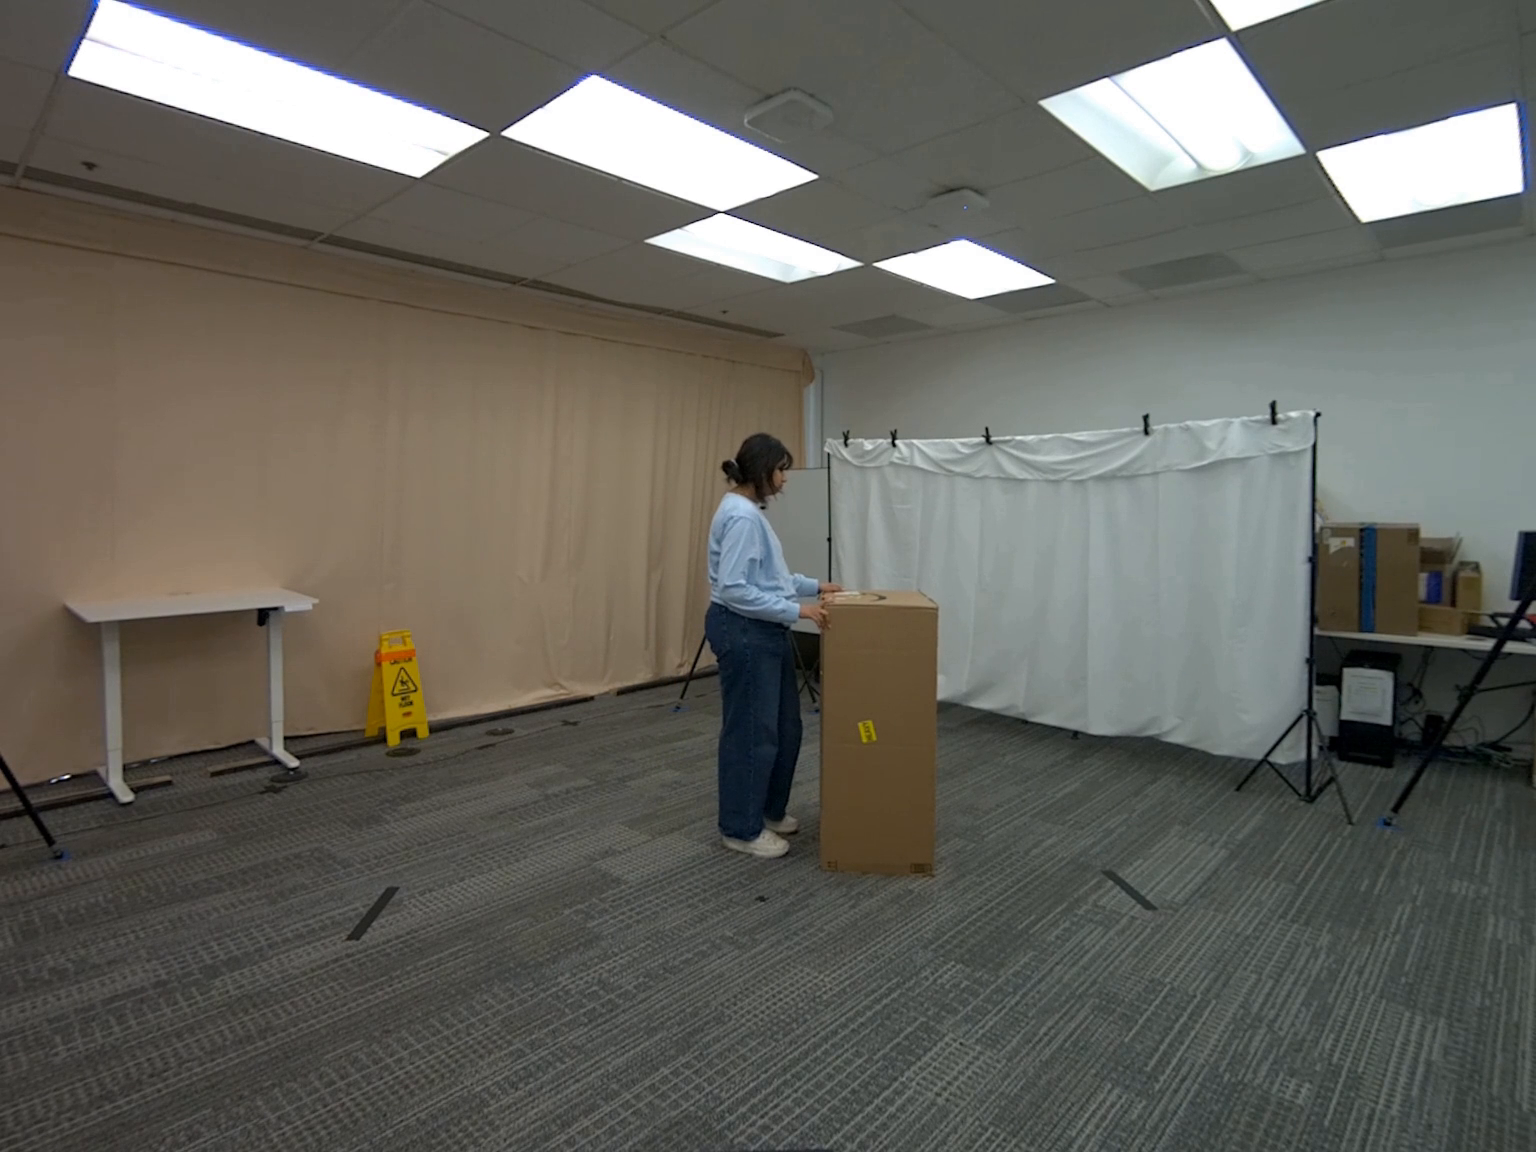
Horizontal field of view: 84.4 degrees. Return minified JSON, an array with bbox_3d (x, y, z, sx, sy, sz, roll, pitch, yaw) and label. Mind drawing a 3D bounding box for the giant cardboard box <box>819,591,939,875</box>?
[{"bbox_3d":[0.441,0.590,3.439,0.450,1.025,0.581,0,3,6],"label":"giant cardboard box"}]
